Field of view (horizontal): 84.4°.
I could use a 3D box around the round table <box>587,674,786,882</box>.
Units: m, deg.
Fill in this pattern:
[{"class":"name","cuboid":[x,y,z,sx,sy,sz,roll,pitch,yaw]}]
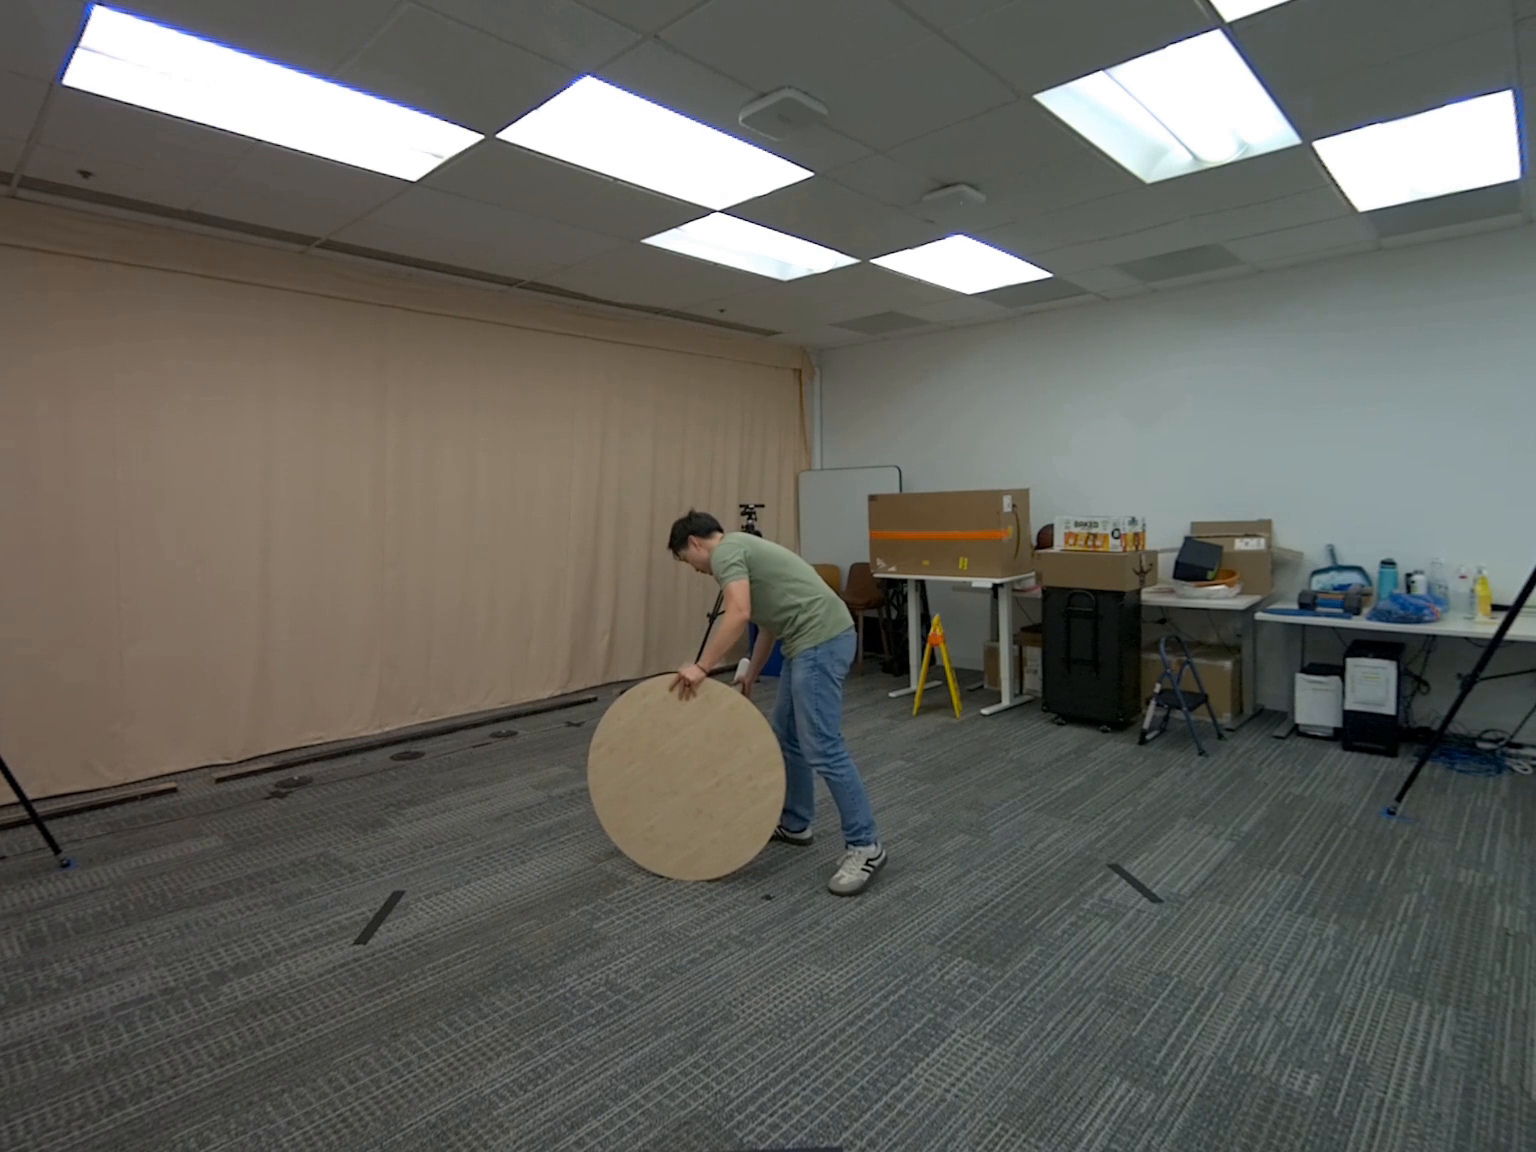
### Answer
[{"class":"round table","cuboid":[-0.242,0.735,3.520,0.775,0.763,0.783,0,1,12]}]
